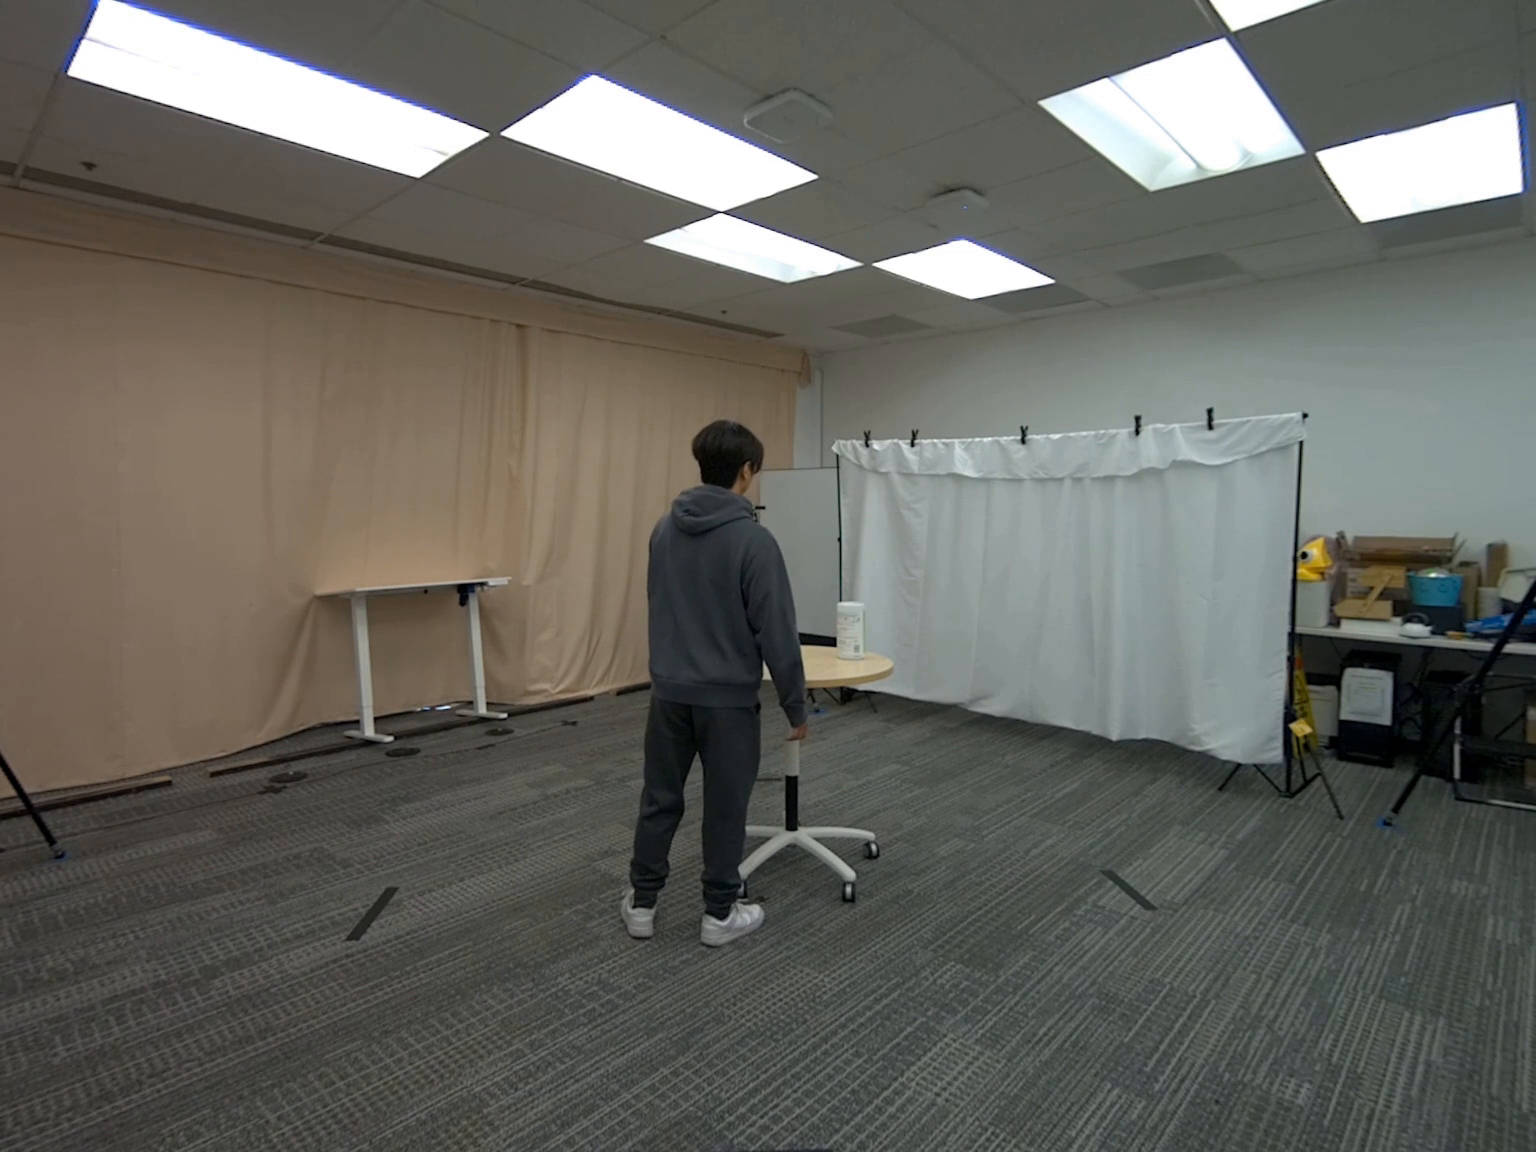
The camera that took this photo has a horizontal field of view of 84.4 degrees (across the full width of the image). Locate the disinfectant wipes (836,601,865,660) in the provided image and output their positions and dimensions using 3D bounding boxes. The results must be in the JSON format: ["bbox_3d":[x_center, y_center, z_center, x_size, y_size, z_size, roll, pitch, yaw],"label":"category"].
[{"bbox_3d":[0.329,0.214,3.290,0.118,0.217,0.118,-1,2,-2],"label":"disinfectant wipes"}]
